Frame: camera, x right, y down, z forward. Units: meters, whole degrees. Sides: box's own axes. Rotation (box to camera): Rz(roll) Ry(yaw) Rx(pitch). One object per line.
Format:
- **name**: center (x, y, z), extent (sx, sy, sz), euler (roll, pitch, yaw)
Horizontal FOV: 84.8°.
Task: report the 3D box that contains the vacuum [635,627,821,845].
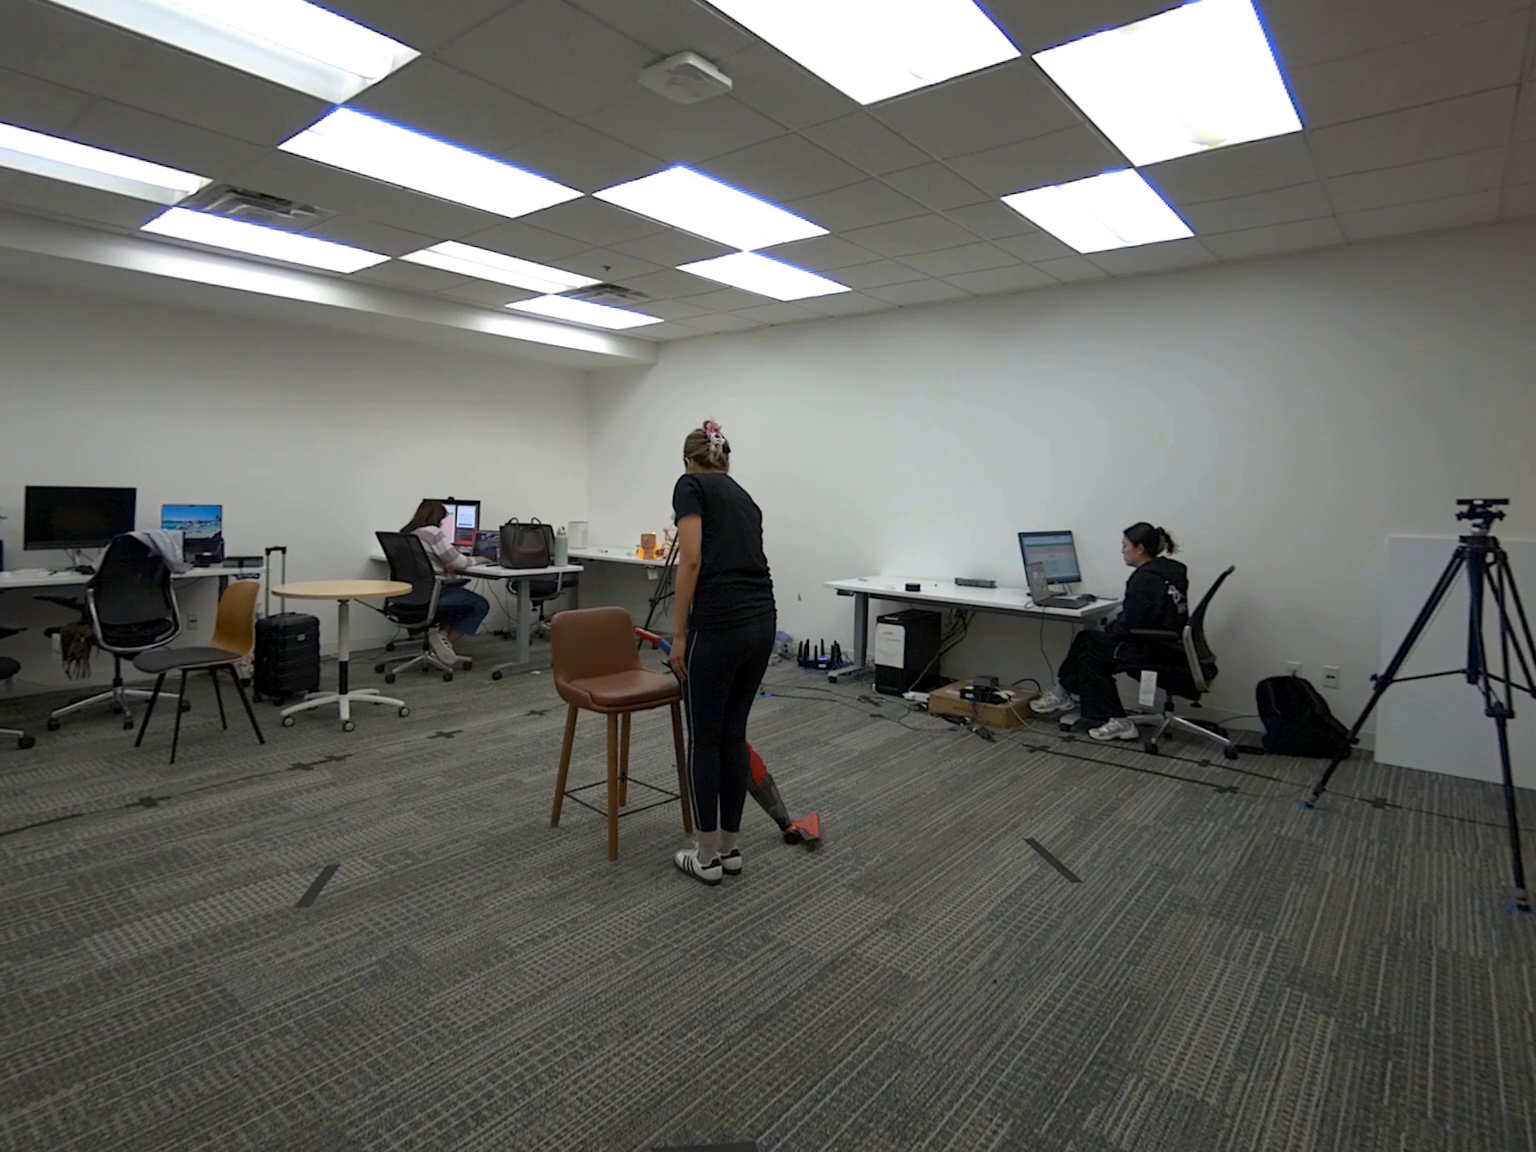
- **vacuum**: center (-0.191, 0.632, 3.419), extent (0.144, 1.052, 0.251), euler (-41, -2, 6)
